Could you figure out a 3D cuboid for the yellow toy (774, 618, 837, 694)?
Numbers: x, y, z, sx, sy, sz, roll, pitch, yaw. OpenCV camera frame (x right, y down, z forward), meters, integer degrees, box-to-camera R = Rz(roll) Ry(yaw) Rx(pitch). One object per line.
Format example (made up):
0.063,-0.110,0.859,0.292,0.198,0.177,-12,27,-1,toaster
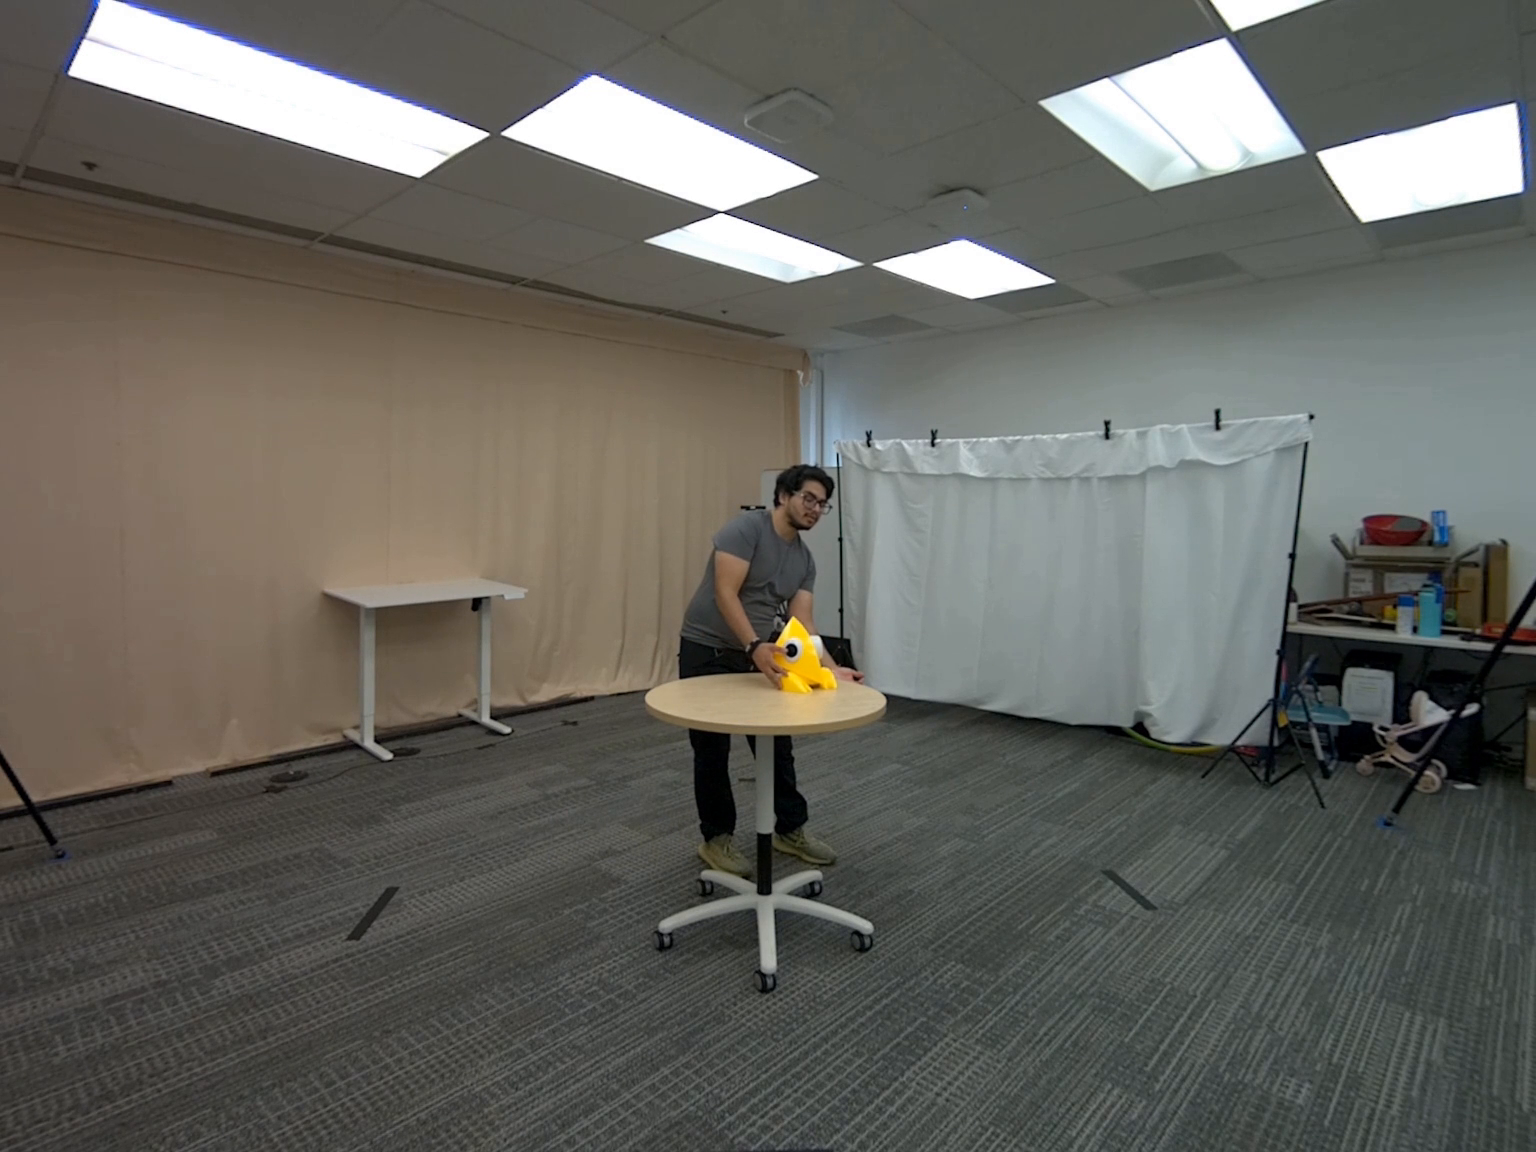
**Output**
0.127,0.263,2.844,0.199,0.230,0.199,-2,5,-31,yellow toy
